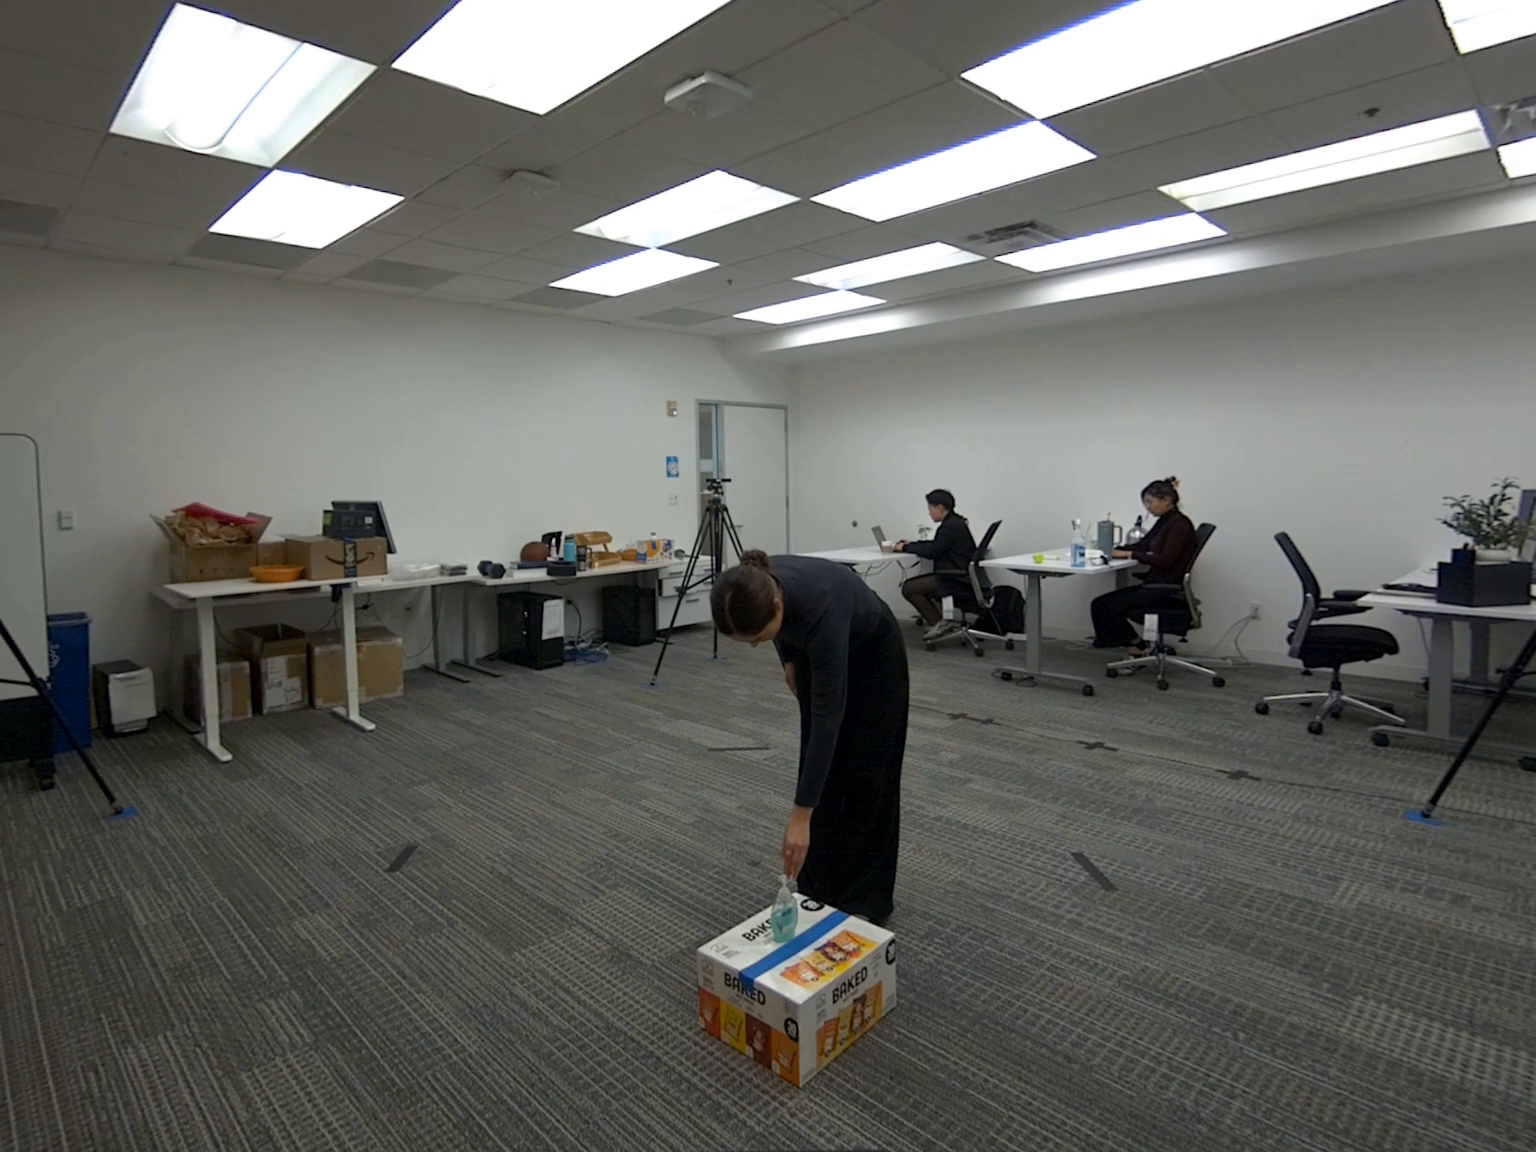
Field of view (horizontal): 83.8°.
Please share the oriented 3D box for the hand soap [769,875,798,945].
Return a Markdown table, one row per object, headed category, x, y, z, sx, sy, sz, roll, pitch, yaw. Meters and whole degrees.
| category | x | y | z | sx | sy | sz | roll | pitch | yaw |
| --- | --- | --- | --- | --- | --- | --- | --- | --- | --- |
| hand soap | 0.045 | 0.864 | 2.241 | 0.082 | 0.167 | 0.045 | -8 | 11 | -39 |
